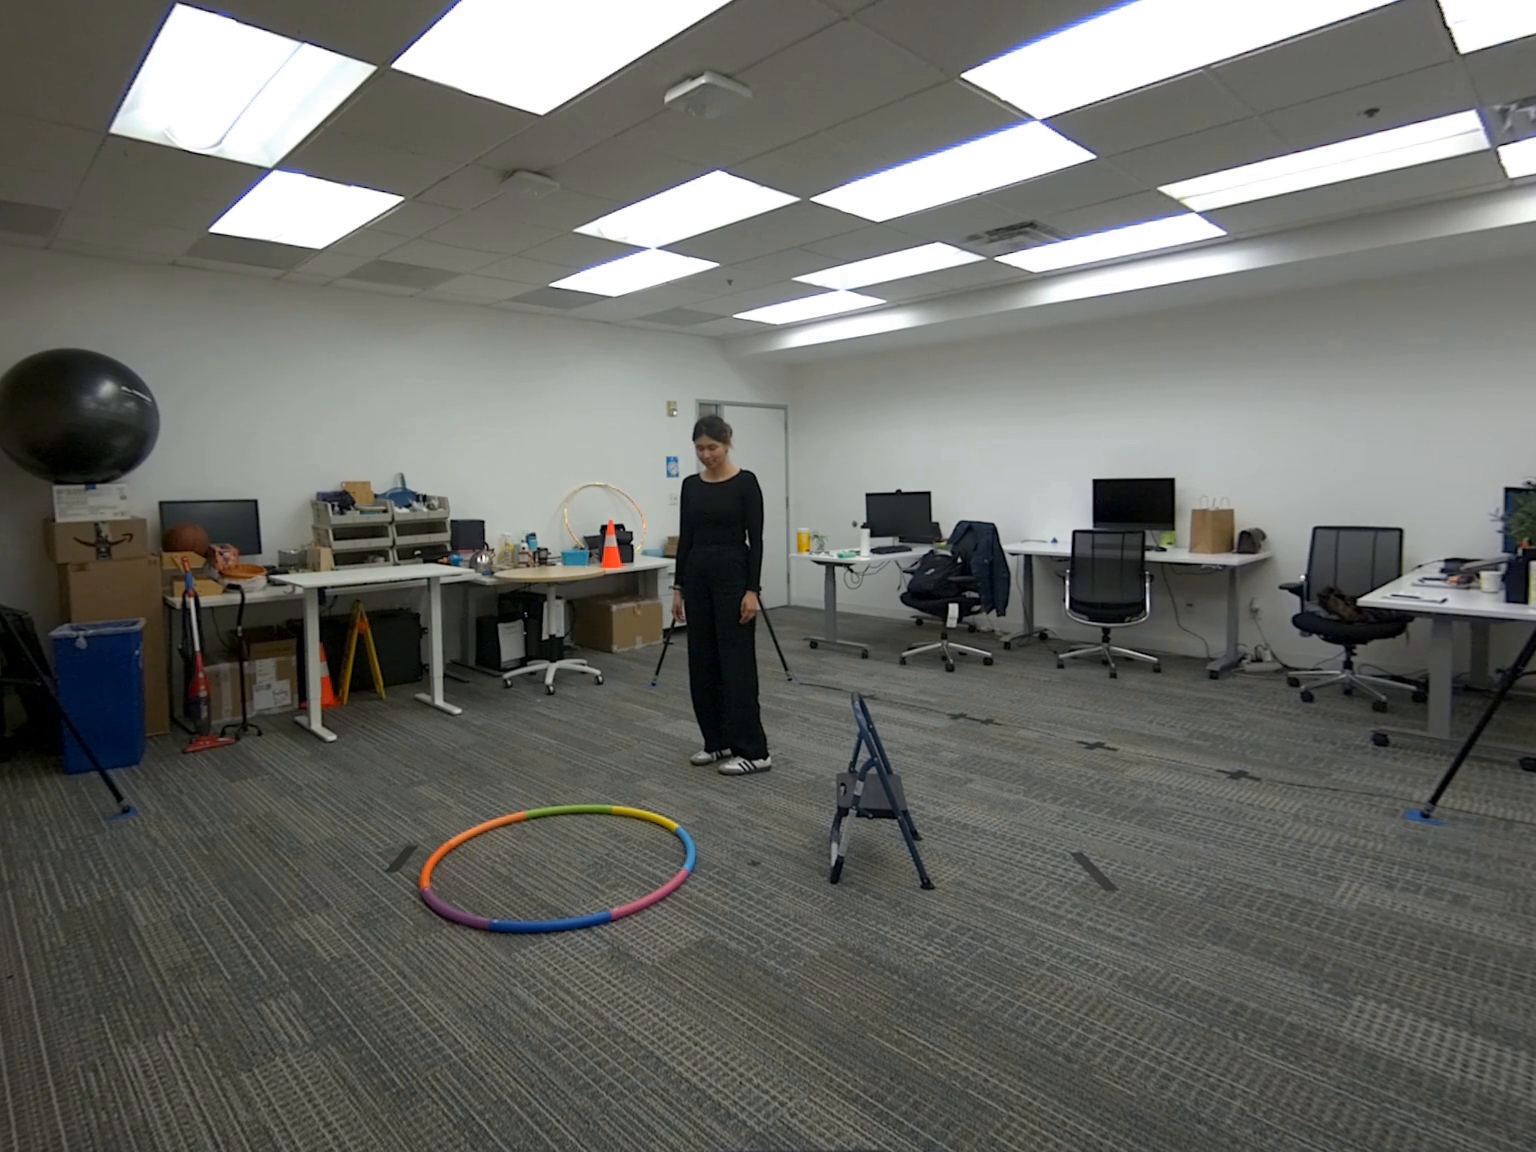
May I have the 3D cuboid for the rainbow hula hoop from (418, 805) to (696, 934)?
[{"bbox_3d":[-0.746,1.019,3.132,0.978,0.035,0.984,-1,7,-2],"label":"rainbow hula hoop"}]
